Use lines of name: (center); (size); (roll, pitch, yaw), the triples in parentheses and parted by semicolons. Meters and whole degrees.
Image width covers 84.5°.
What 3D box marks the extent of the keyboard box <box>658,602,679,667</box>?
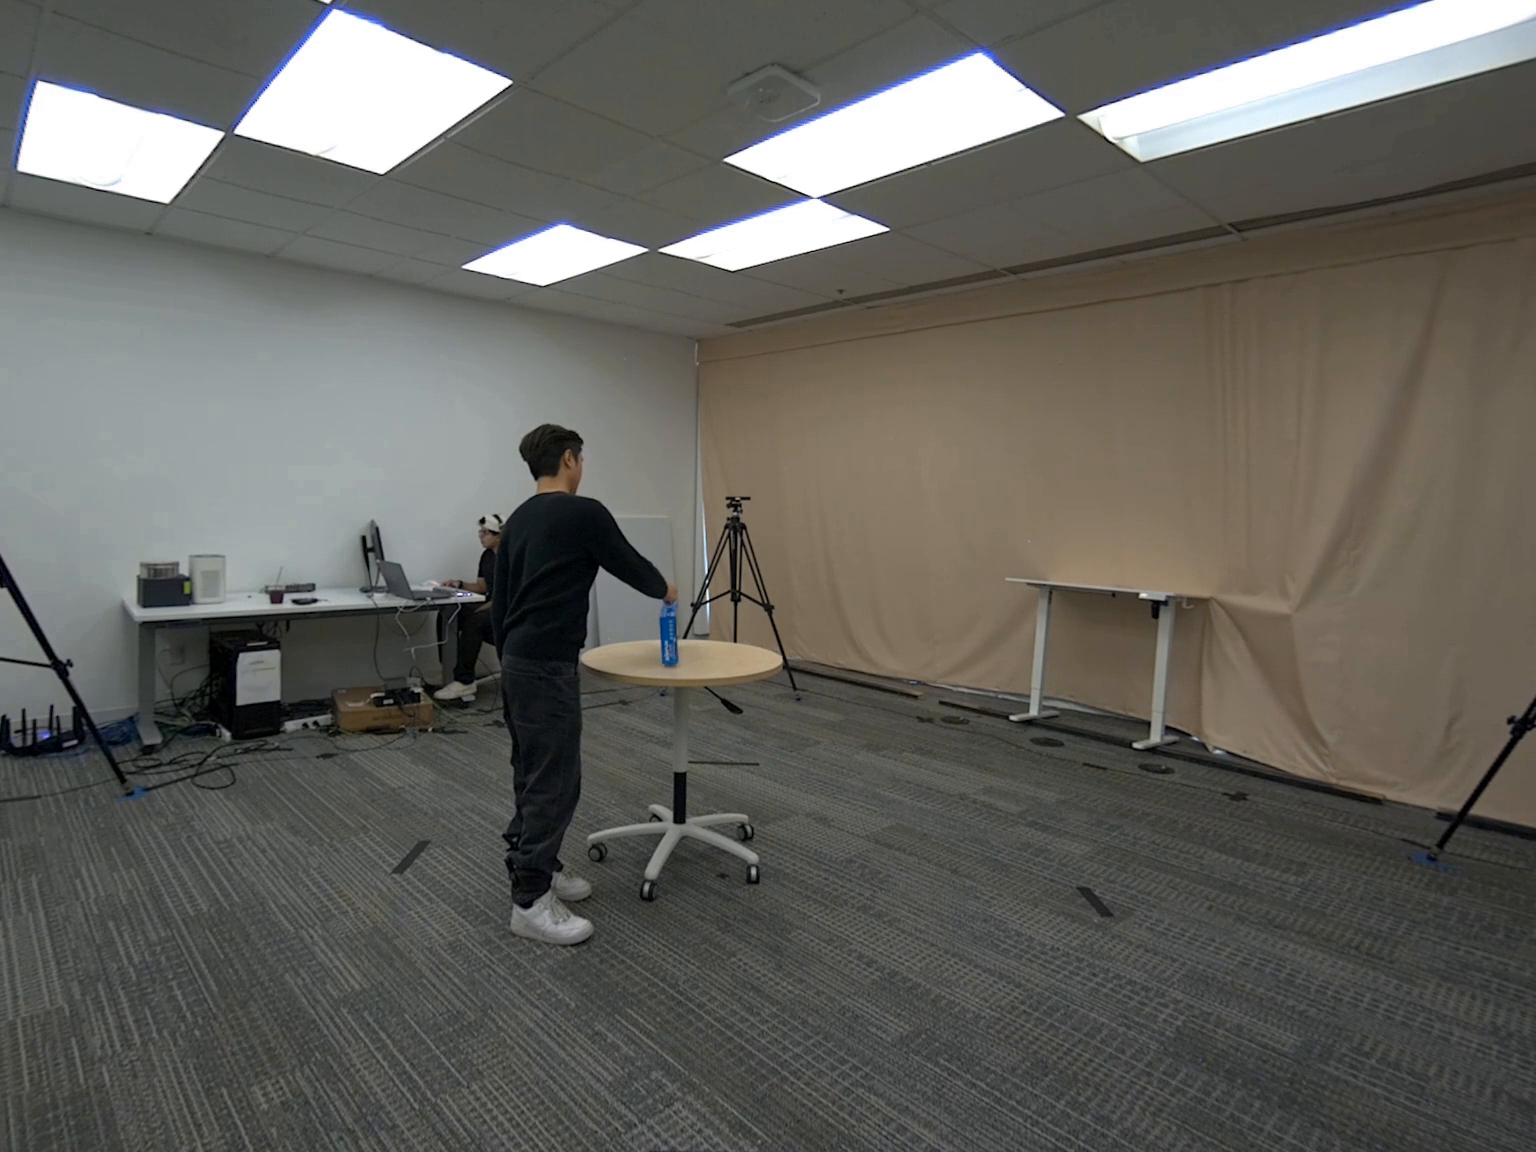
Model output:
keyboard box: (-0.386, 0.205, 3.217); (0.059, 0.175, 0.440); (-1, 7, -4)
